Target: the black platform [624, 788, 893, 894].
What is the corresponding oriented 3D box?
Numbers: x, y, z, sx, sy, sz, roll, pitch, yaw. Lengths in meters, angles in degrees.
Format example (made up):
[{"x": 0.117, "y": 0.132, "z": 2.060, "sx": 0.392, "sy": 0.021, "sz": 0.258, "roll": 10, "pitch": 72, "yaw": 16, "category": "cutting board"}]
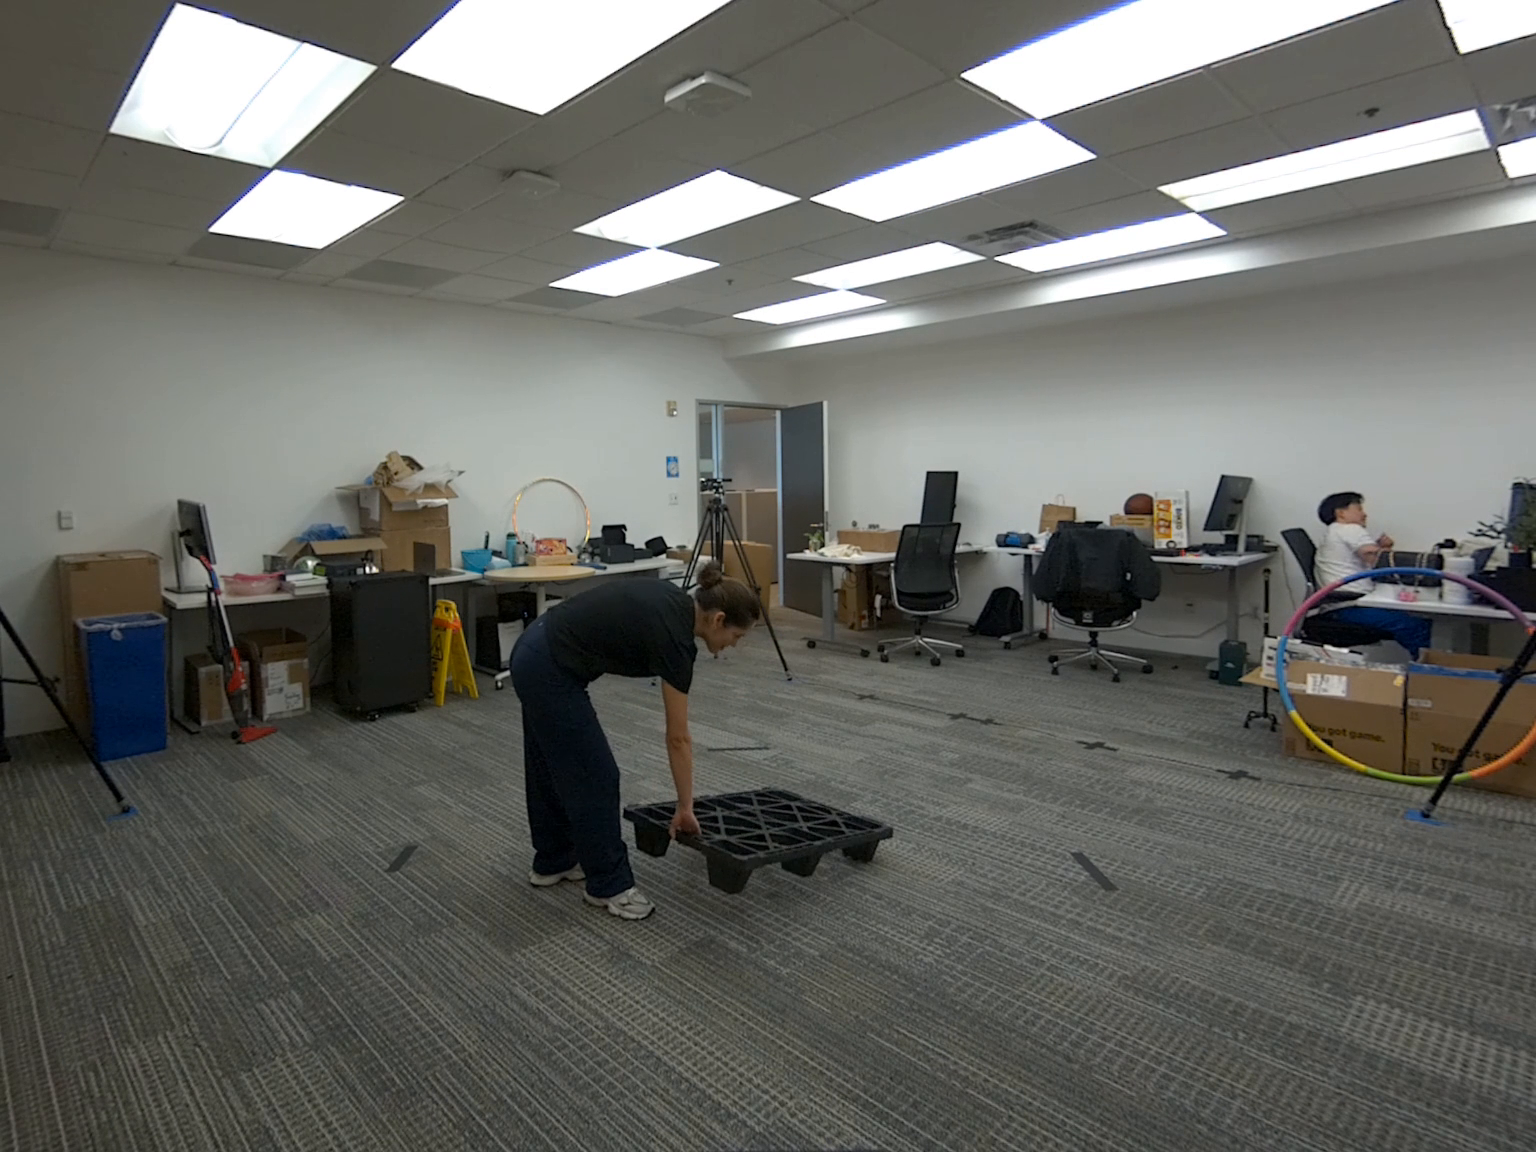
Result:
[{"x": -0.026, "y": 0.924, "z": 3.048, "sx": 0.624, "sy": 0.143, "sz": 0.779, "roll": 6, "pitch": 0, "yaw": 44, "category": "black platform"}]
